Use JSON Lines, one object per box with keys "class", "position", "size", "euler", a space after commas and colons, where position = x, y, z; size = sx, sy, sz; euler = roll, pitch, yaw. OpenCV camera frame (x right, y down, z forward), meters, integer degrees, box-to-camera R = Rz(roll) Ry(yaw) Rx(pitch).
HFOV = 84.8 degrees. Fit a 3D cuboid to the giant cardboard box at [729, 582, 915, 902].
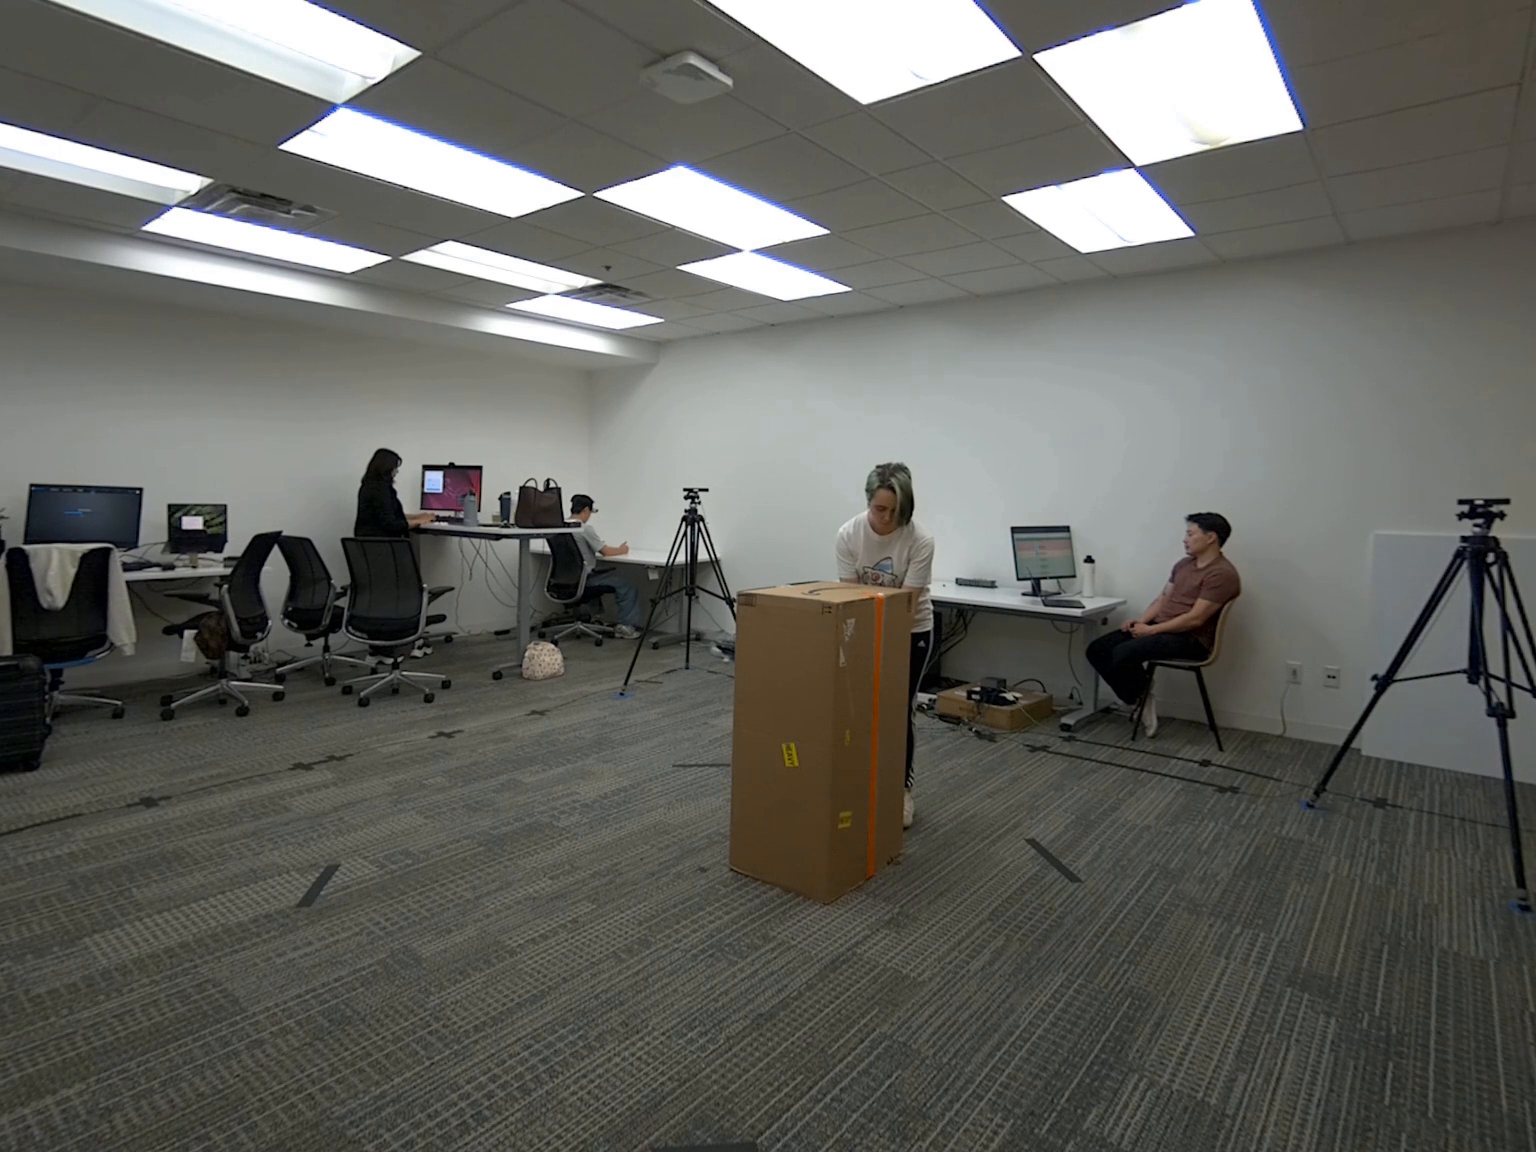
{"class": "giant cardboard box", "position": [0.198, 0.564, 3.179], "size": [0.461, 1.025, 0.567], "euler": [3, 3, 36]}
